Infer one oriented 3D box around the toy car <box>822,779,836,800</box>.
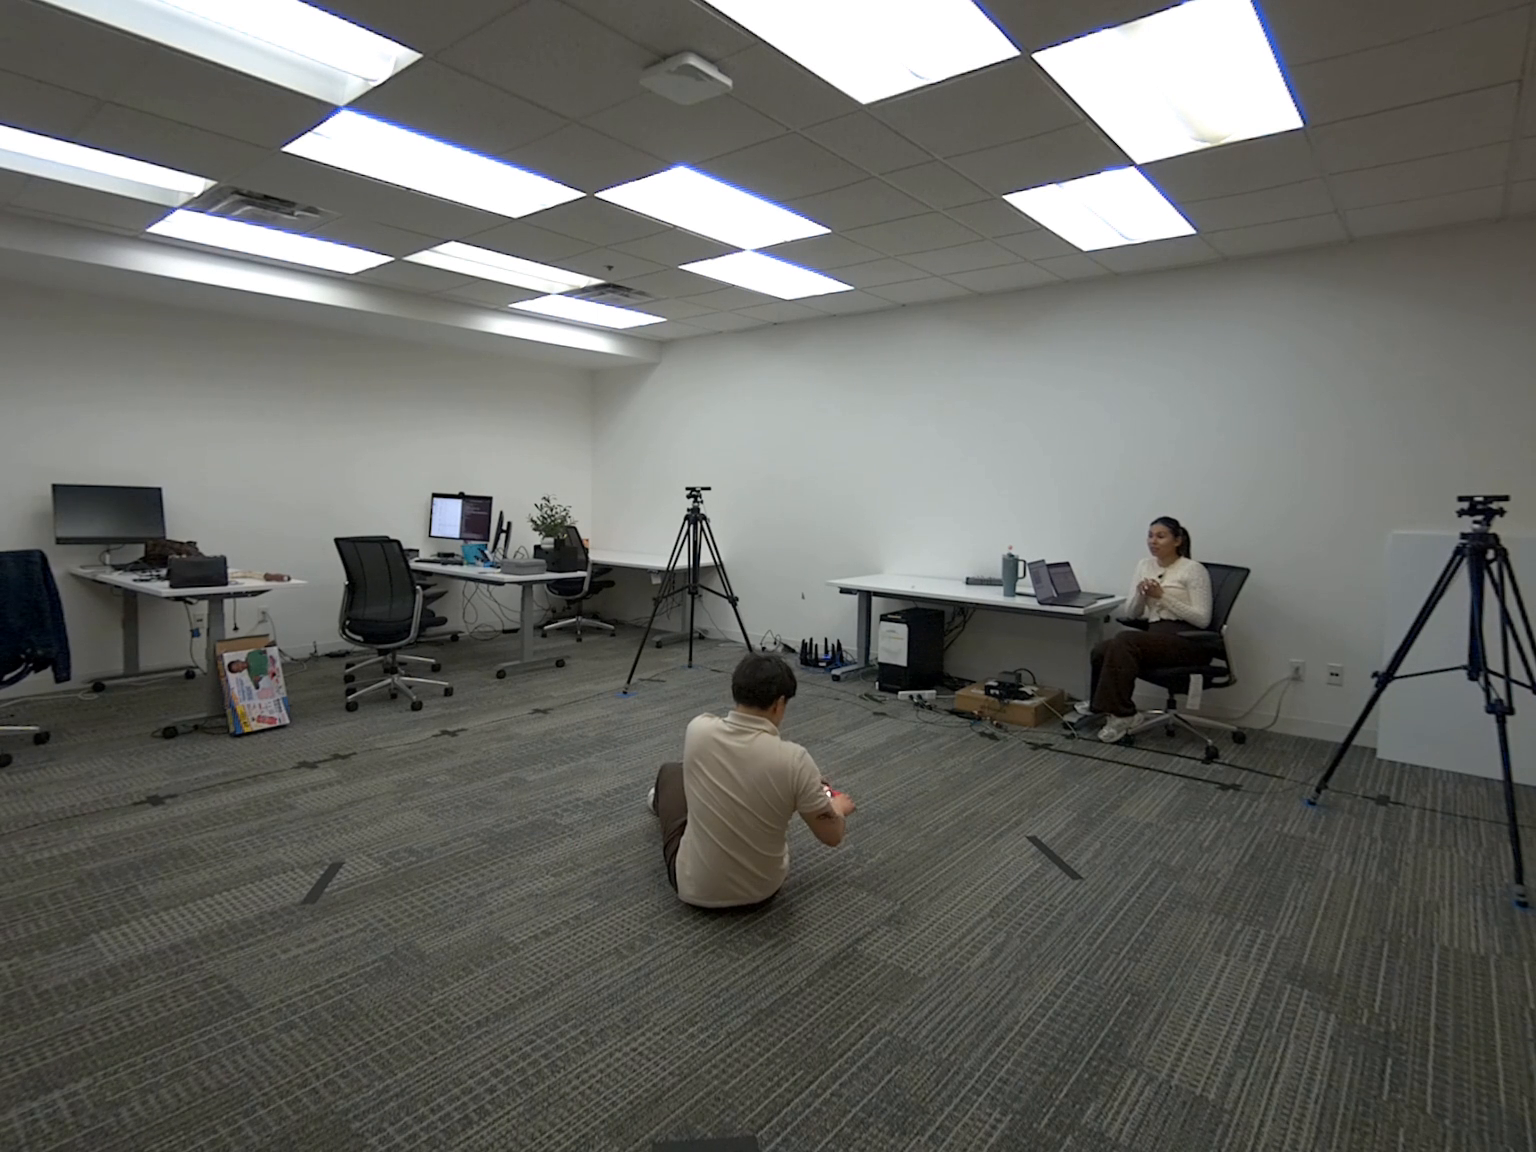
[{"bbox_3d":[0.170,0.818,3.099,0.128,0.082,0.262,-24,15,-29],"label":"toy car"}]
